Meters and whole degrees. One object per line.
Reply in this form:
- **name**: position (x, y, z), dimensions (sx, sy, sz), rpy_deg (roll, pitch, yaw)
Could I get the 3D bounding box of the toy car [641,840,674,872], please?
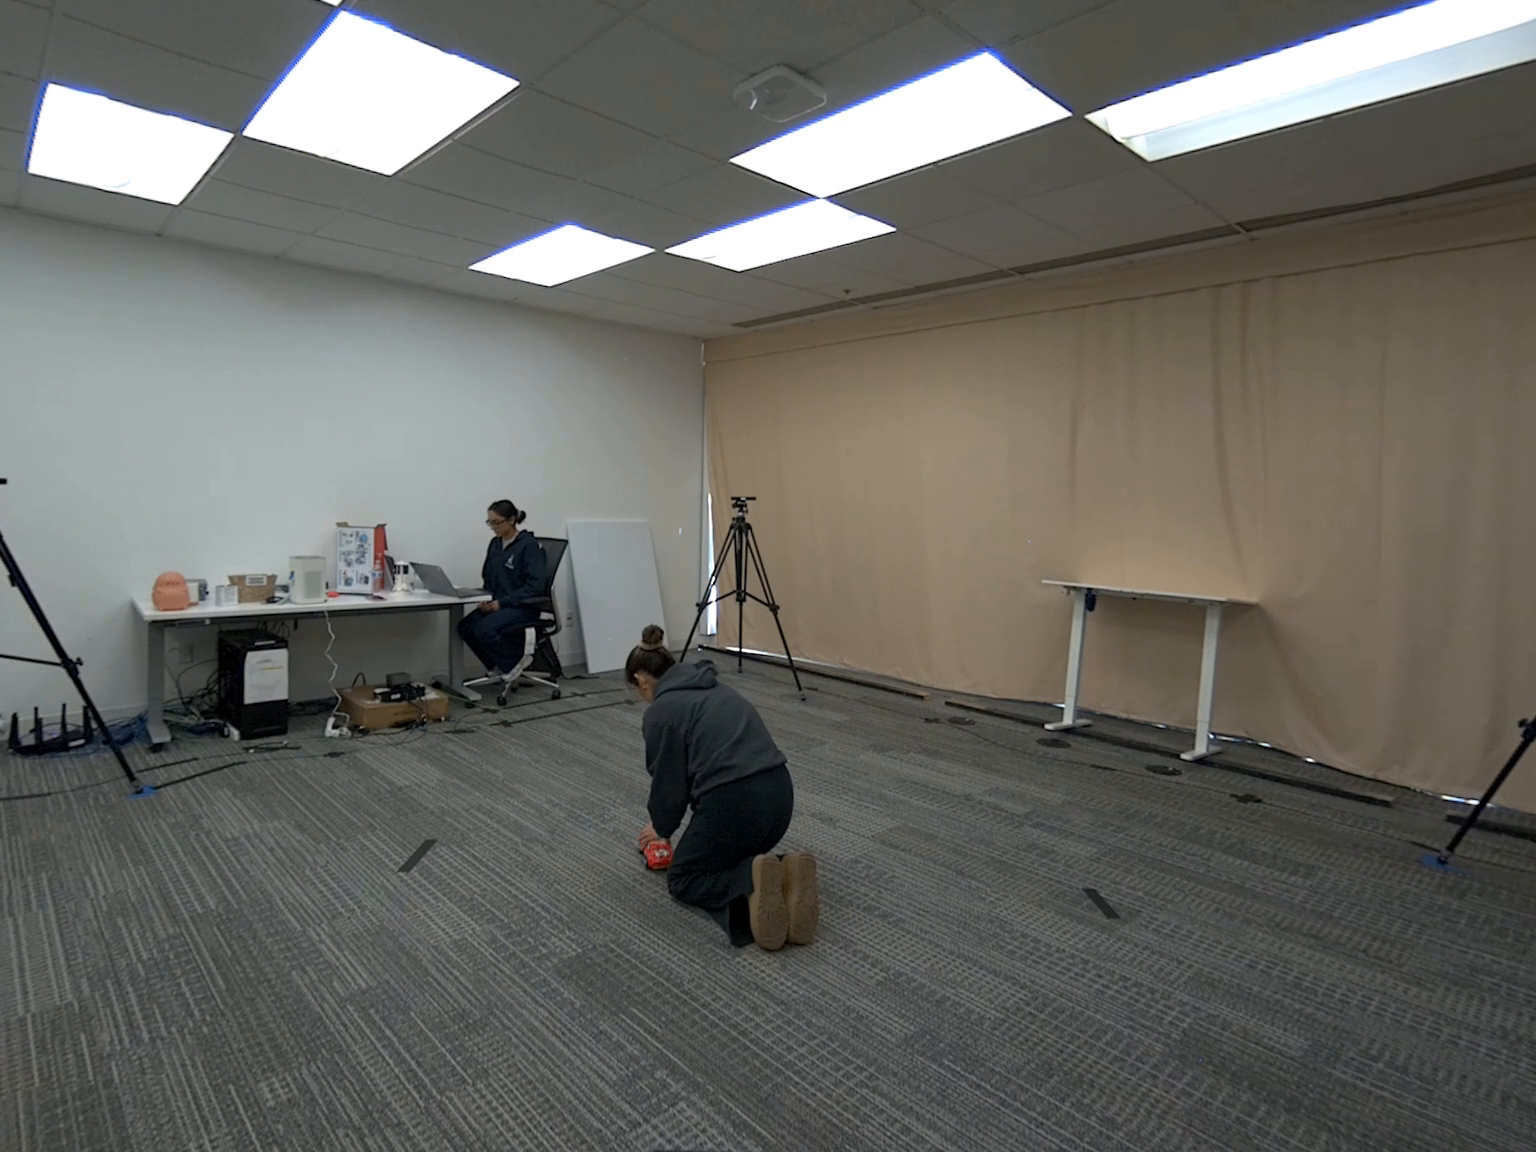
- **toy car**: position (-0.429, 1.061, 3.218), dimensions (0.129, 0.083, 0.256), rpy_deg (0, -6, -16)
